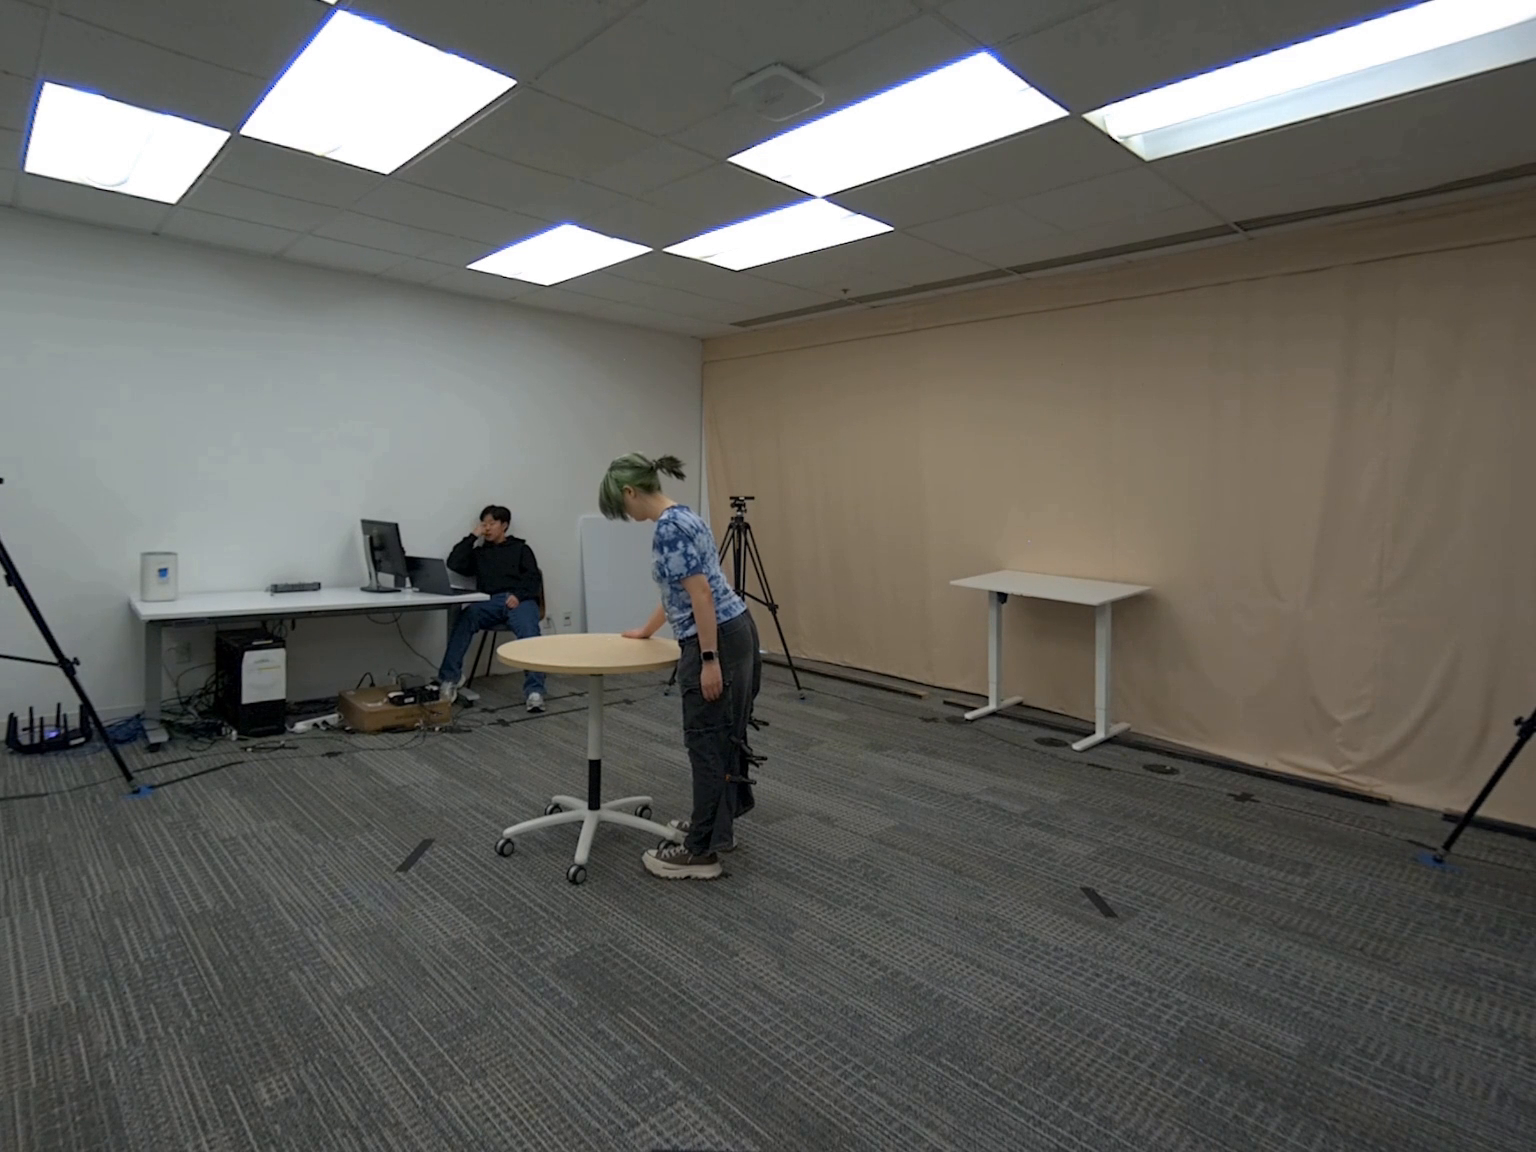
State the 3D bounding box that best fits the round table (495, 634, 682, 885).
[{"bbox_3d":[-0.680,0.673,3.351,0.784,0.784,0.788,1,4,-1],"label":"round table"}]
